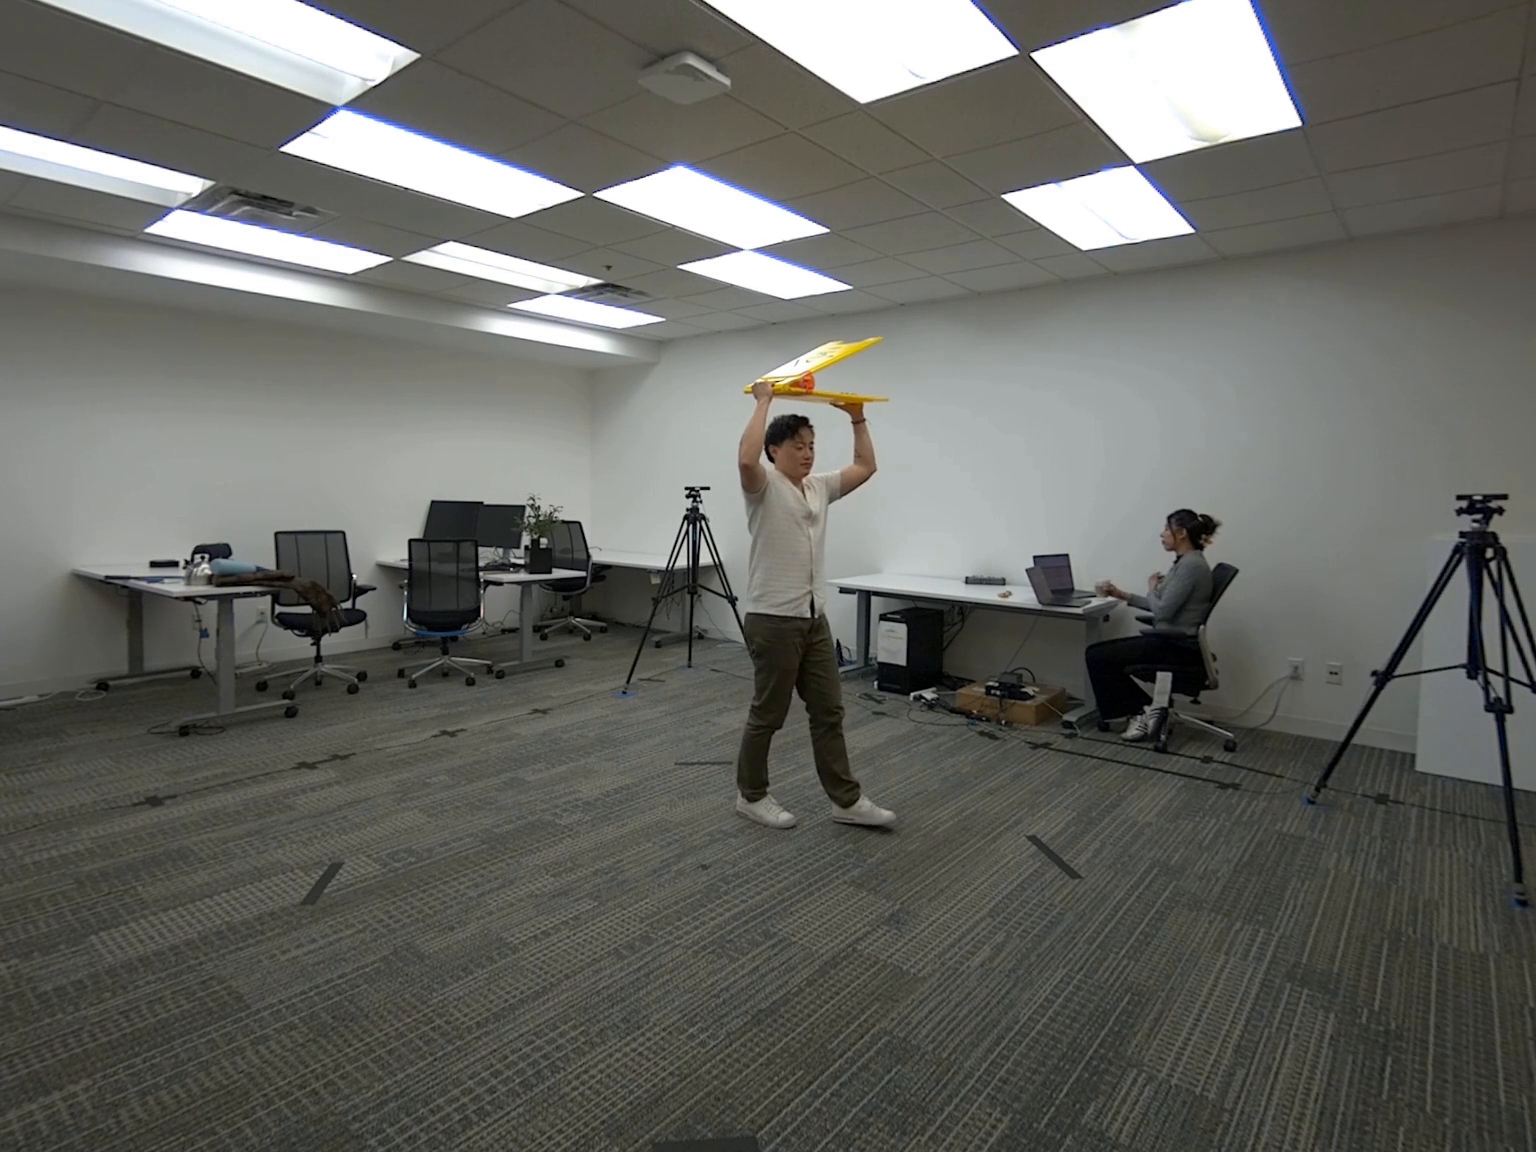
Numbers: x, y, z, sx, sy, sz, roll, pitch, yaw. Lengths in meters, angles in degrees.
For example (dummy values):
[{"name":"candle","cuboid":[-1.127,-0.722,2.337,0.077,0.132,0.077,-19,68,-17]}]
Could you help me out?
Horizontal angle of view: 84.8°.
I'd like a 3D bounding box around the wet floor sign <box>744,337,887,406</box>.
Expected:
[{"name":"wet floor sign","cuboid":[0.177,-0.802,3.465,0.292,0.286,0.633,6,19,44]}]
